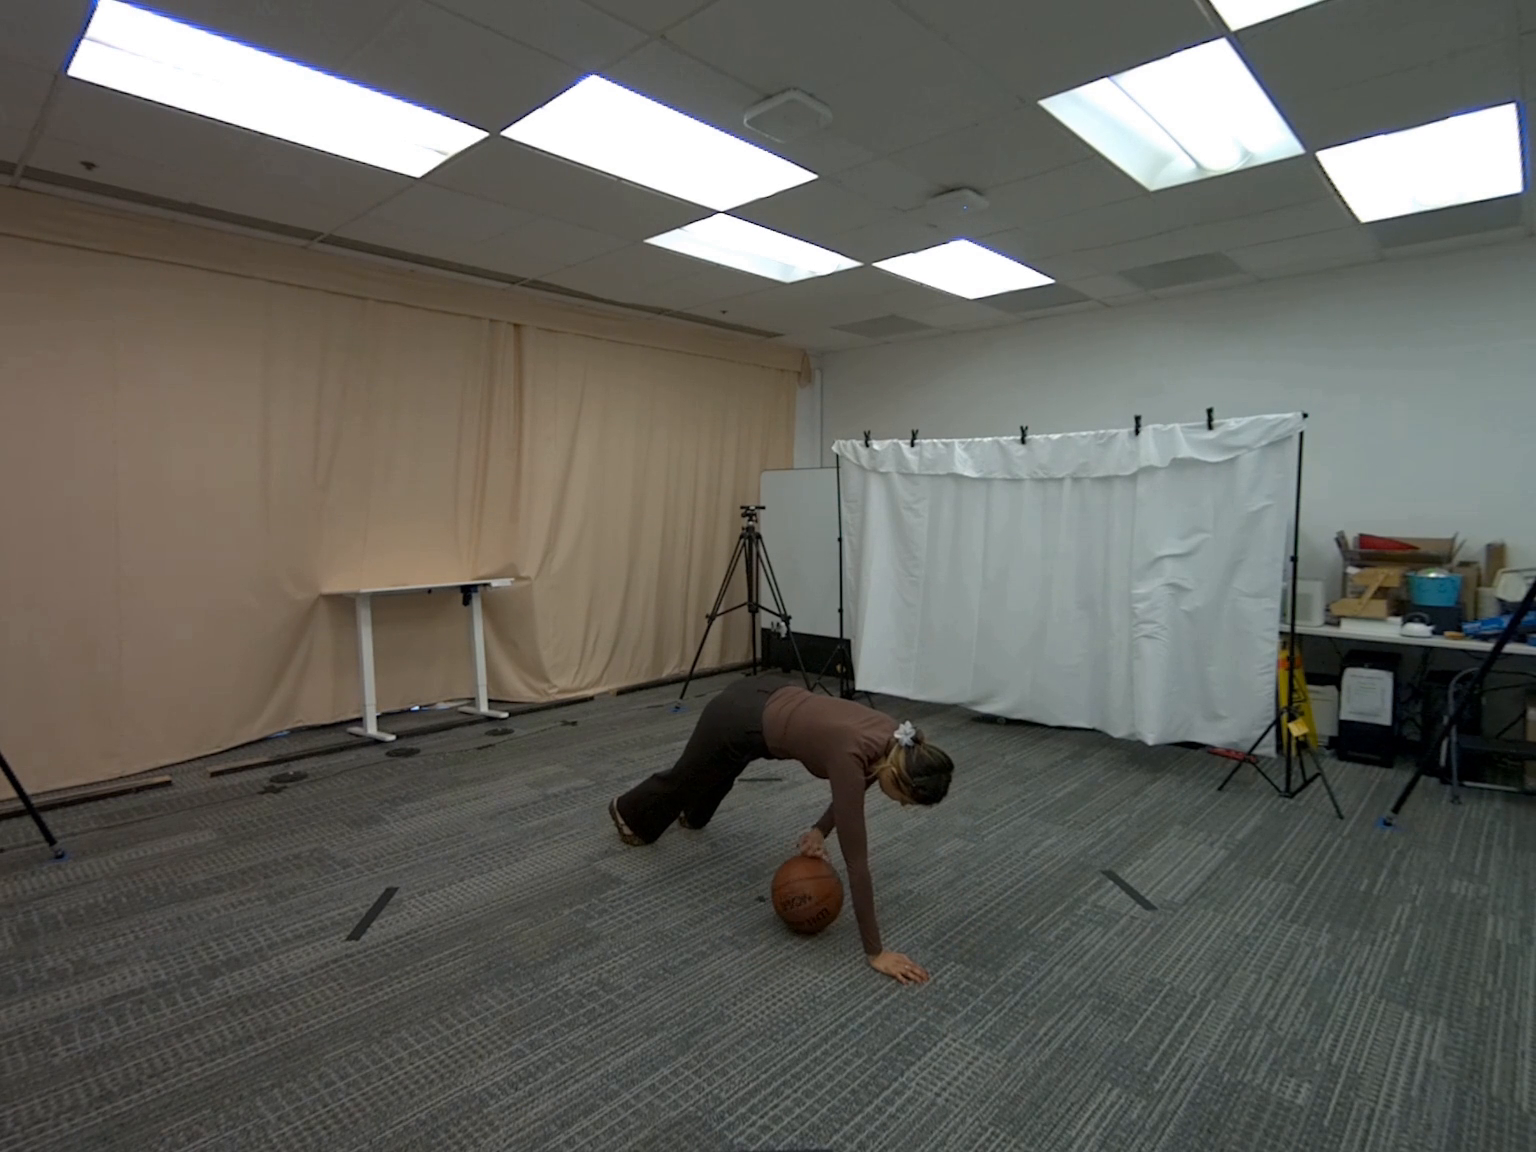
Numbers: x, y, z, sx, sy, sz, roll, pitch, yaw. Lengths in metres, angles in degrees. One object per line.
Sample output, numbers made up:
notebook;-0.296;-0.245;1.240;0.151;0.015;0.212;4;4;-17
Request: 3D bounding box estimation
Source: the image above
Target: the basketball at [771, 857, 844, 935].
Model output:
basketball;0.135;1.043;2.776;0.236;0.235;0.237;0;4;-2
